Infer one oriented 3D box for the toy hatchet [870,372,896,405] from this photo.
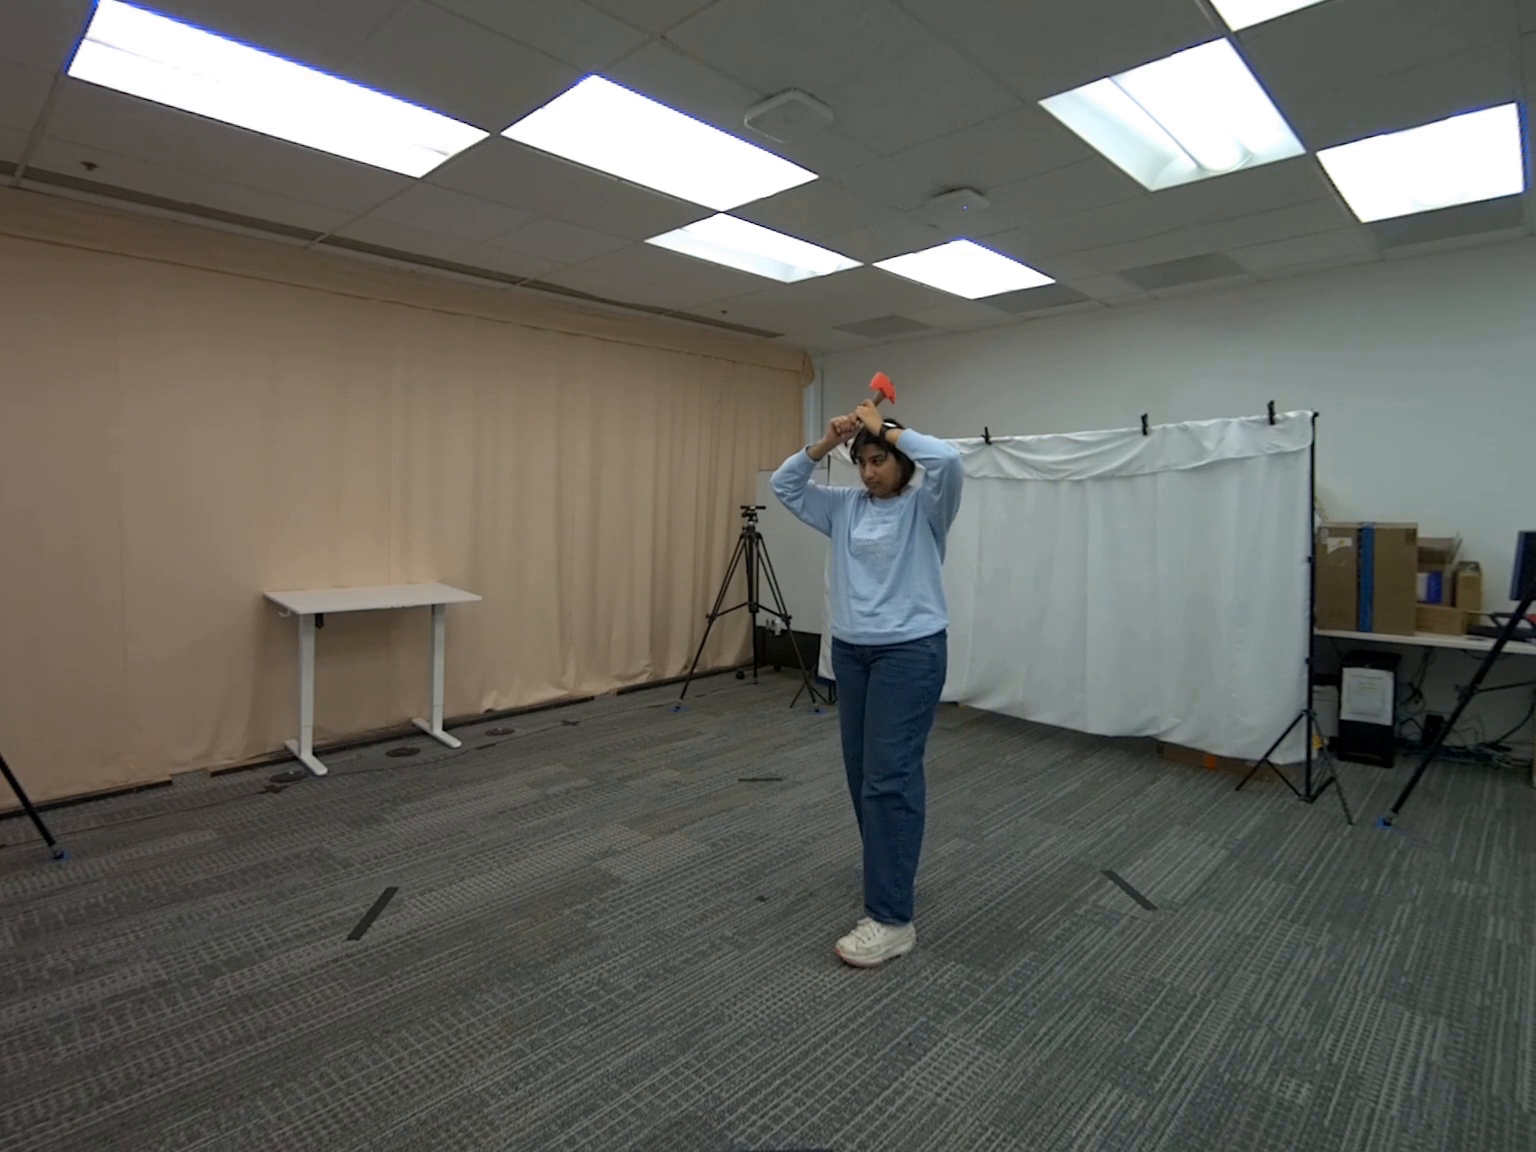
[{"bbox_3d":[0.314,-0.566,2.718,0.266,0.128,0.031,-34,34,-26],"label":"toy hatchet"}]
